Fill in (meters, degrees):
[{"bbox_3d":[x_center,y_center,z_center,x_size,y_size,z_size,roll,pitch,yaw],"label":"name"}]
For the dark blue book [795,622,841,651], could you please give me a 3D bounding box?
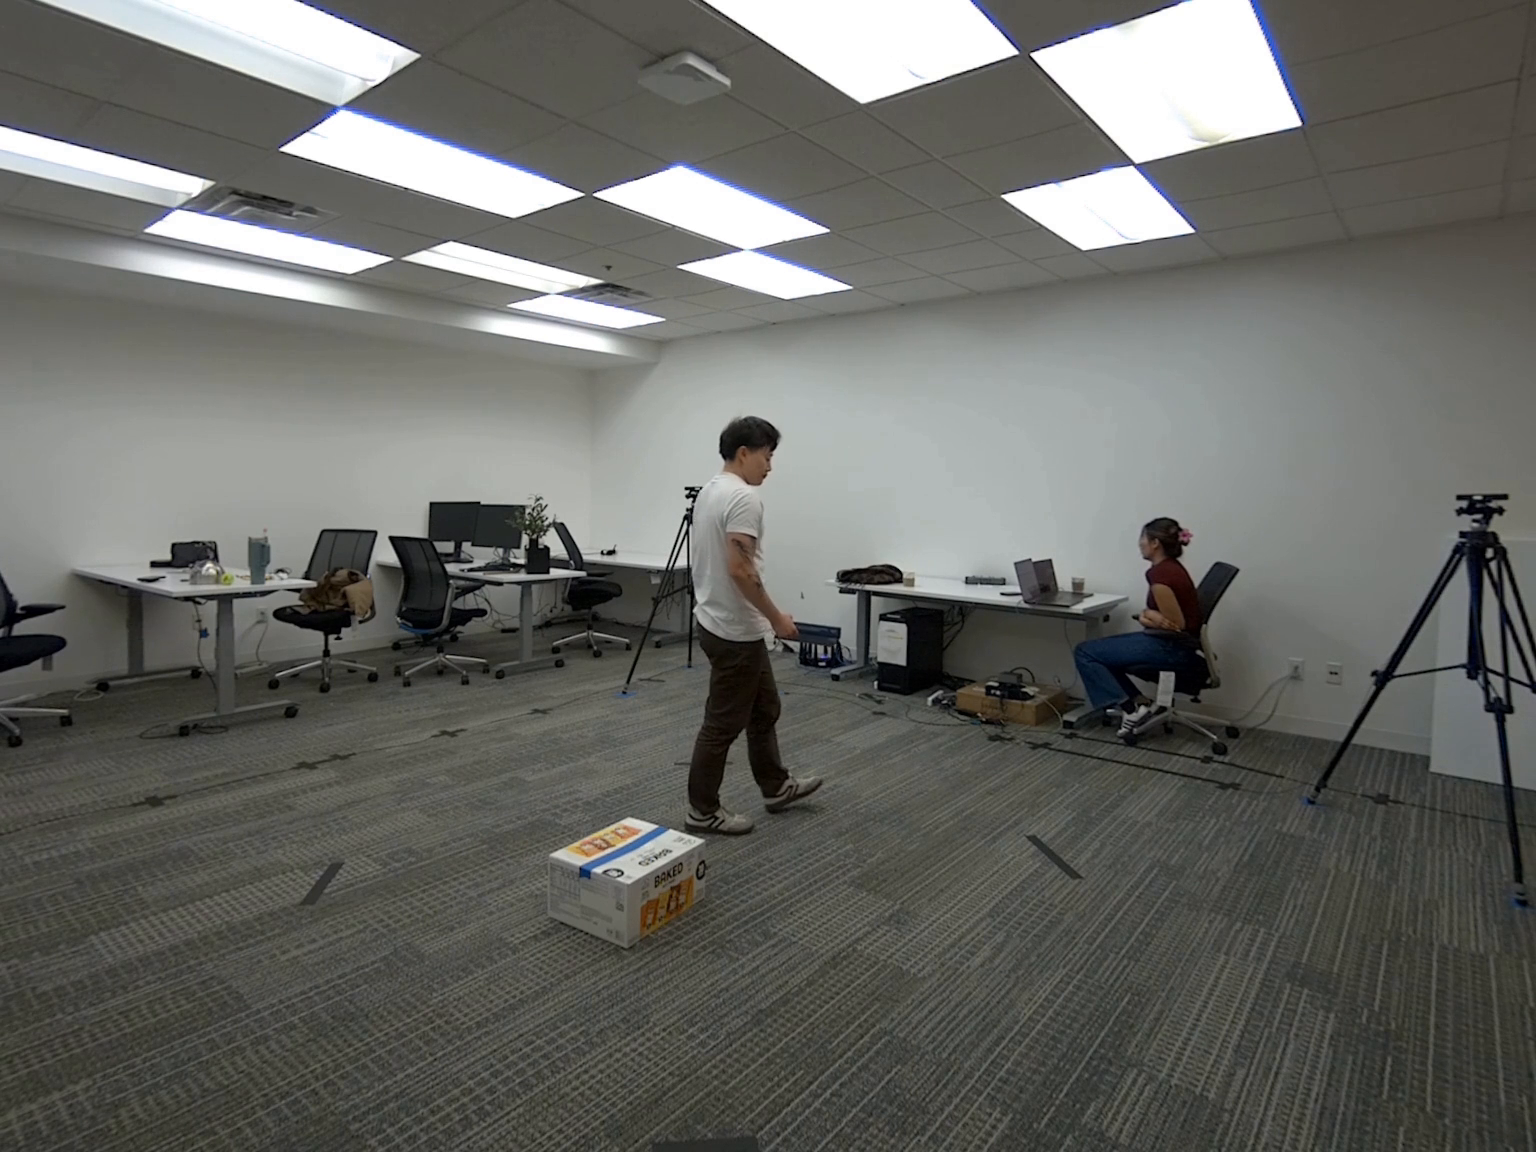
[{"bbox_3d":[0.144,0.222,3.362,0.245,0.046,0.161,7,-13,0],"label":"dark blue book"}]
